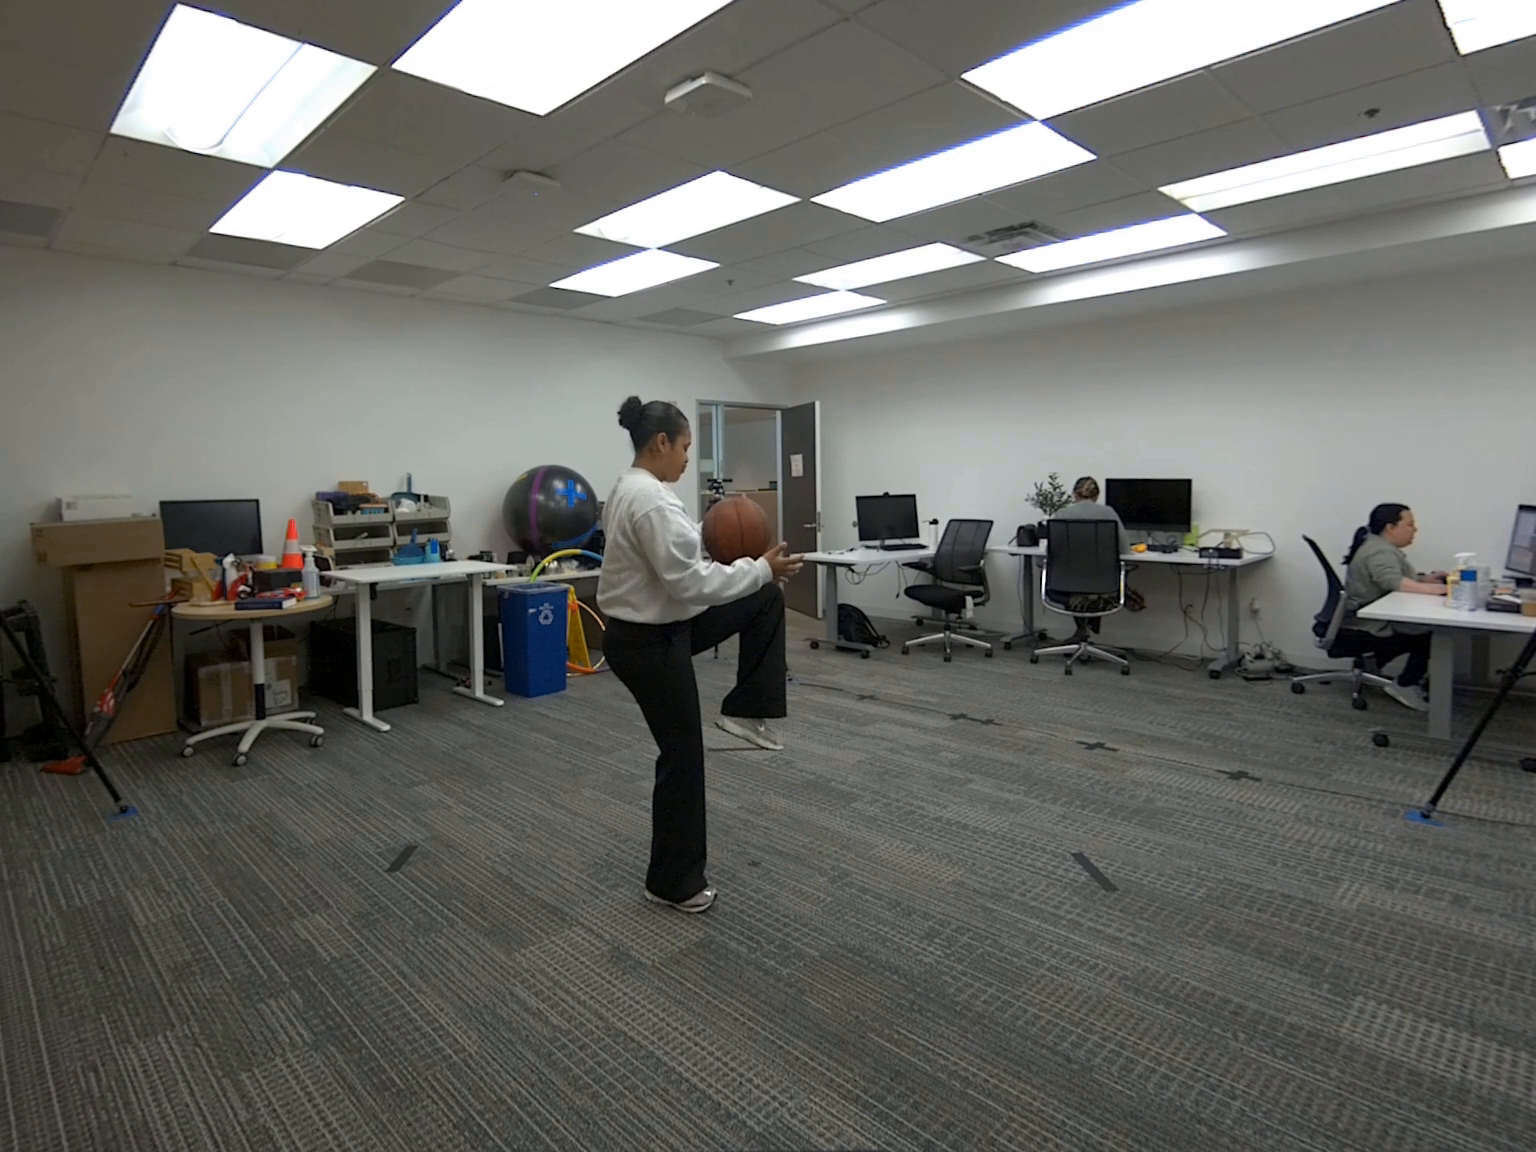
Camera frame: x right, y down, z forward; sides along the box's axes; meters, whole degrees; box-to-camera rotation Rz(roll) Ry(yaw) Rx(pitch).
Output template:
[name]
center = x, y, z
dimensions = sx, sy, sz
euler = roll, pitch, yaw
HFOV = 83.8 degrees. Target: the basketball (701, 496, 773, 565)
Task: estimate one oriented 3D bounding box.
[basketball]
center = -0.105, -0.120, 2.907
dimensions = 0.236, 0.235, 0.237
euler = -1, 5, -2
